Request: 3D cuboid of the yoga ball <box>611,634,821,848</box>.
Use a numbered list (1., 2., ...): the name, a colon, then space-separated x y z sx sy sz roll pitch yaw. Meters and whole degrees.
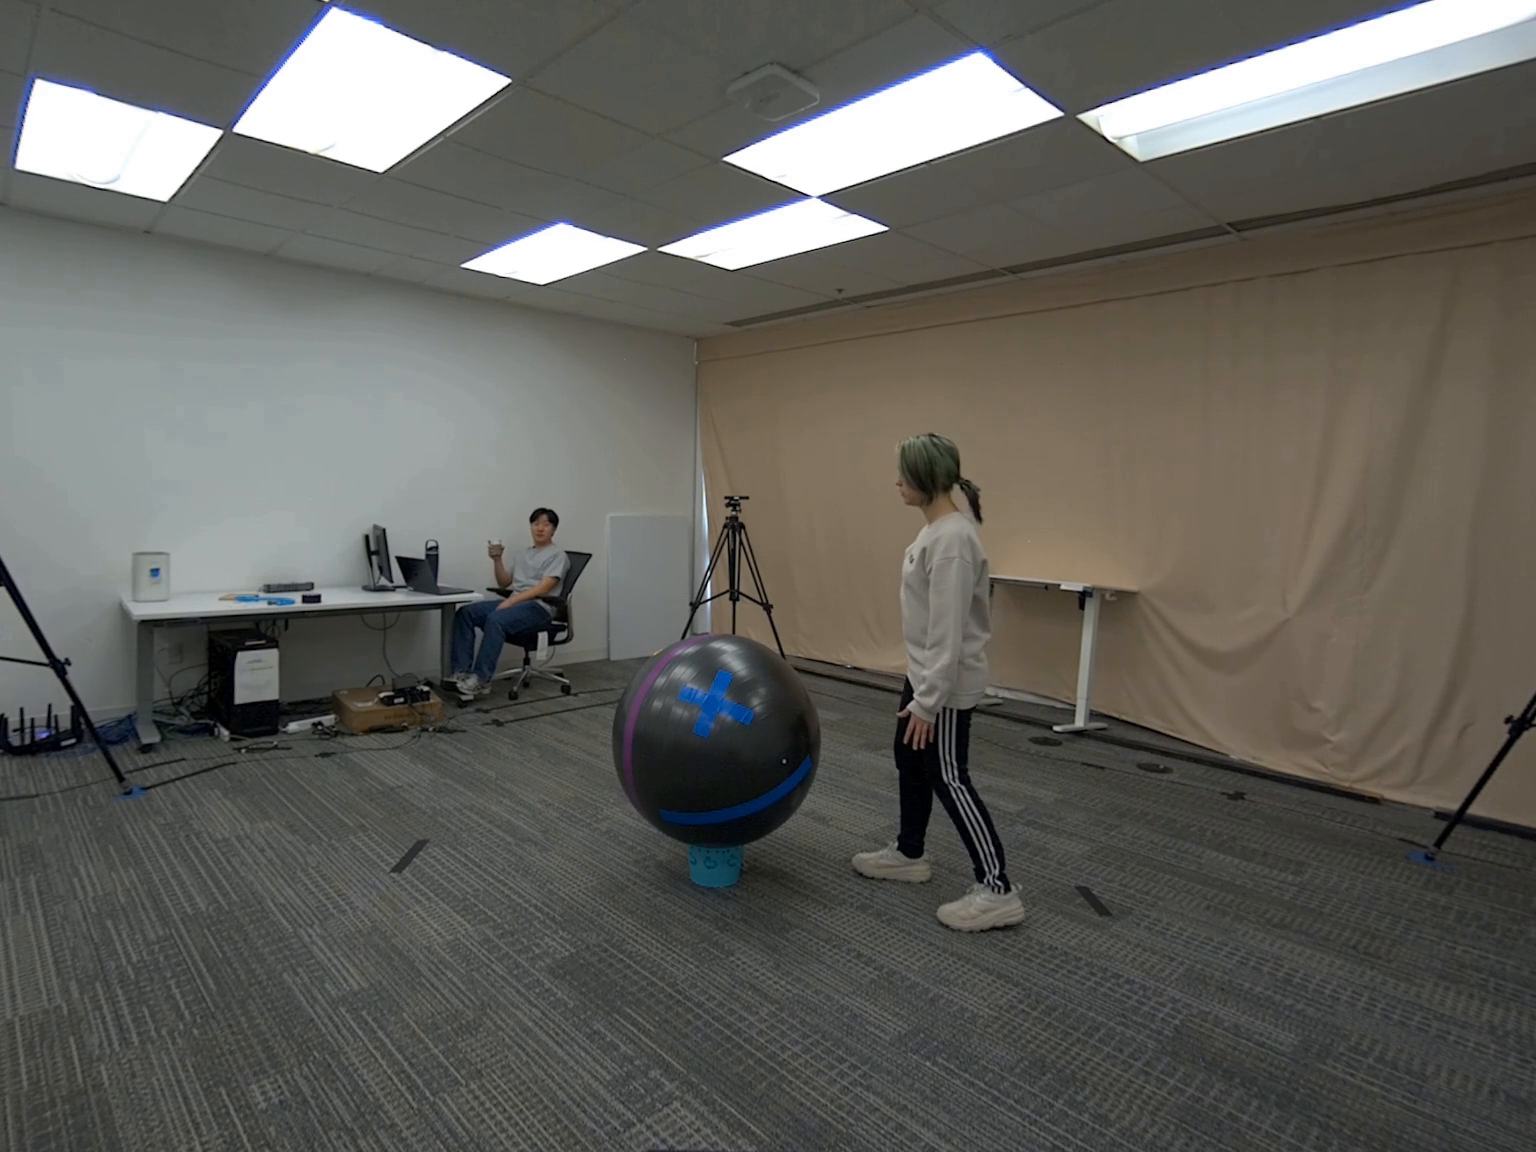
1. yoga ball: -0.194 0.592 3.071 0.757 0.756 0.761 1 4 -1
